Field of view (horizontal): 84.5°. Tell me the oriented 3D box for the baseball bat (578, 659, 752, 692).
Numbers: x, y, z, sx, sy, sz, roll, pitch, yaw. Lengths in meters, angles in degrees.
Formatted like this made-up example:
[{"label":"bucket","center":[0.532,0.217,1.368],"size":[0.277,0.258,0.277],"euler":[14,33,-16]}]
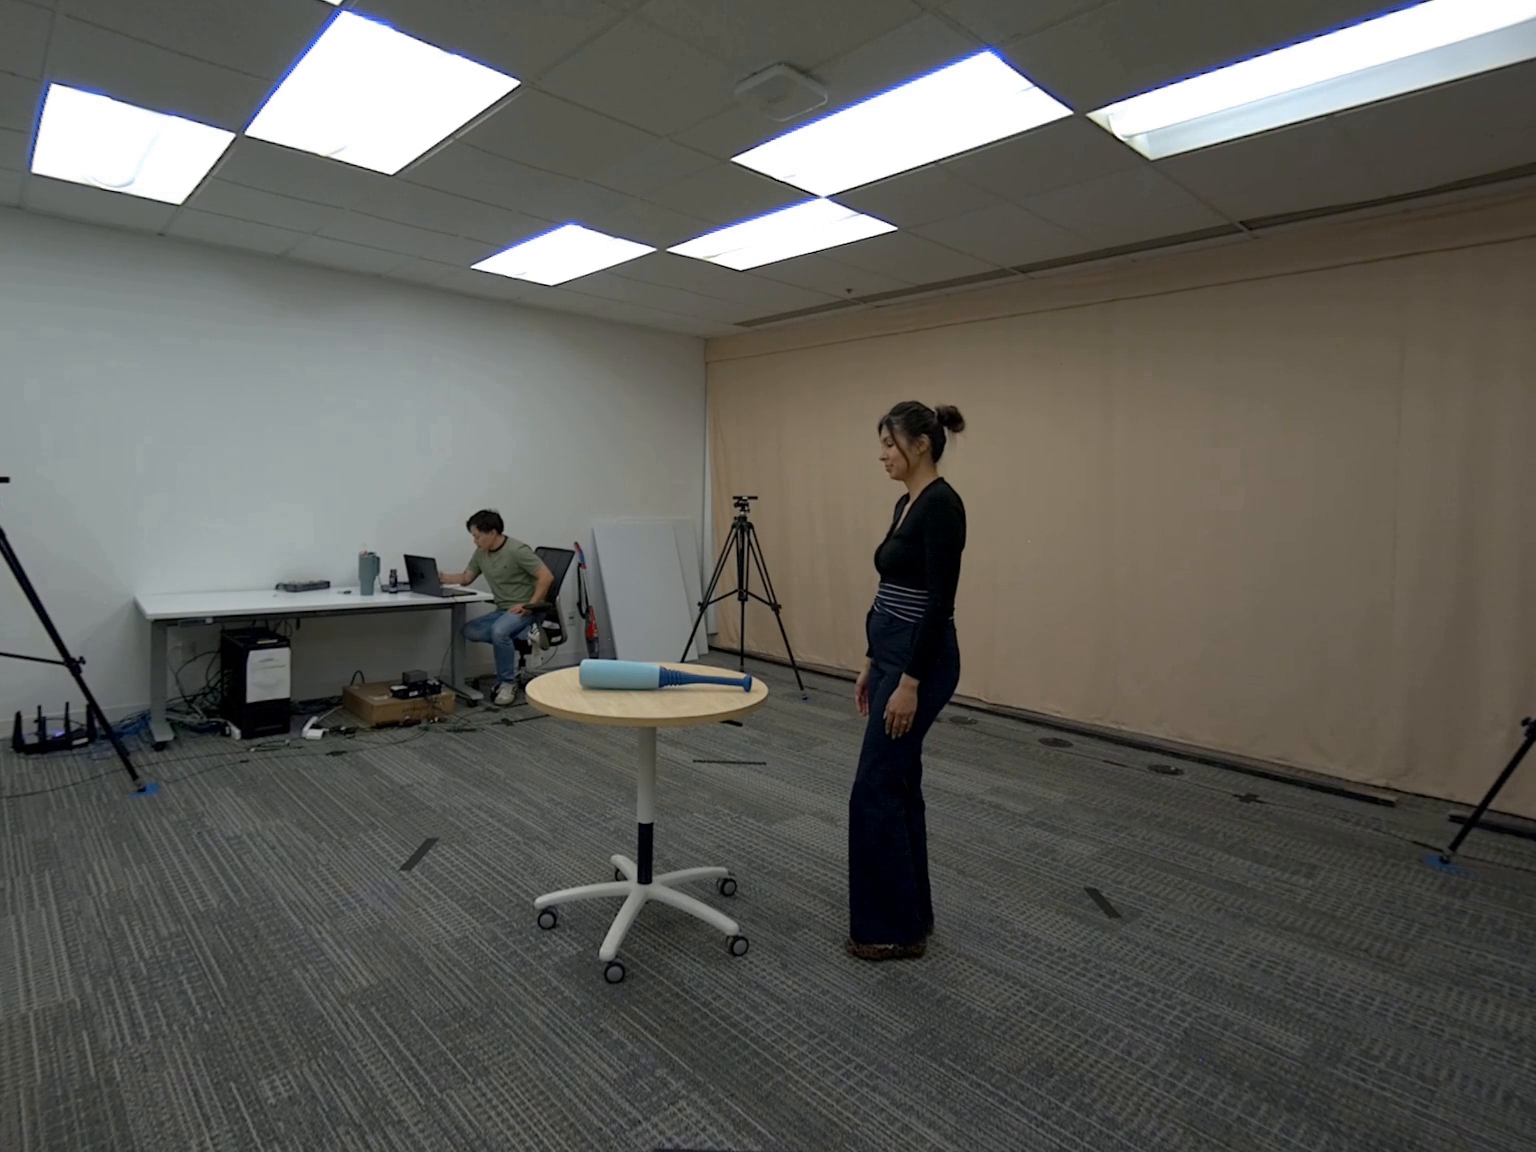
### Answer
[{"label":"baseball bat","center":[-0.323,0.321,2.642],"size":[0.542,0.089,0.089],"euler":[4,4,-2]}]
